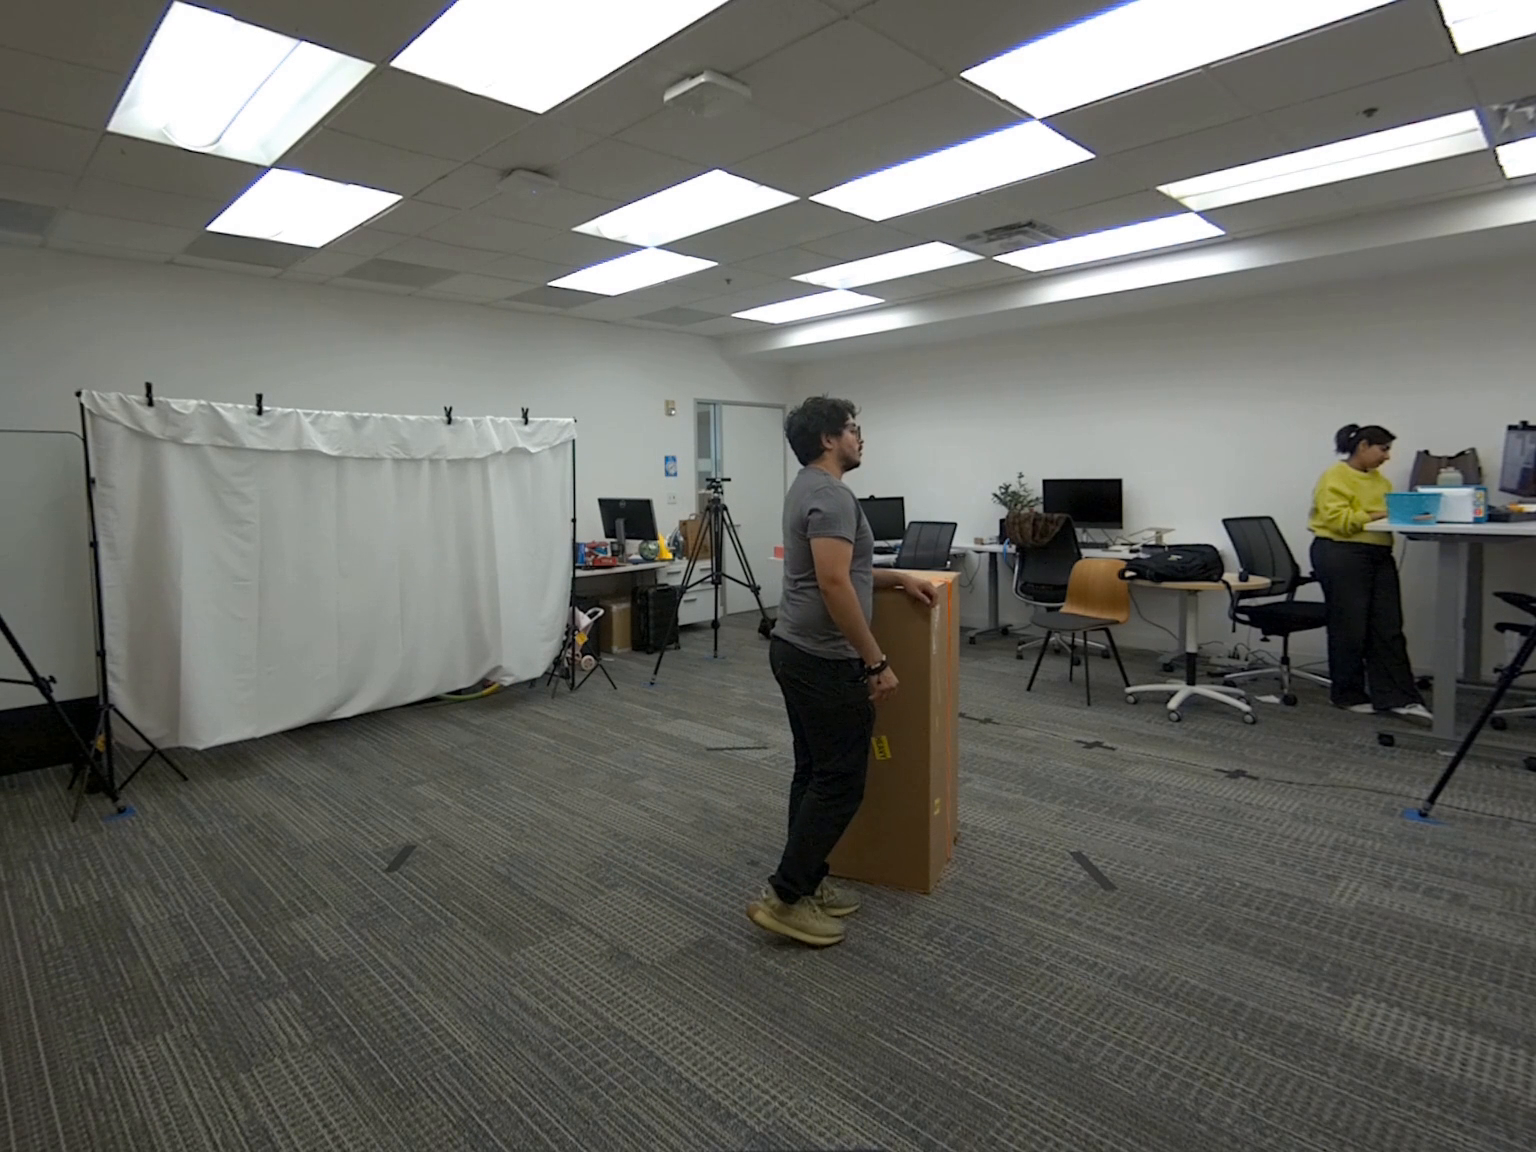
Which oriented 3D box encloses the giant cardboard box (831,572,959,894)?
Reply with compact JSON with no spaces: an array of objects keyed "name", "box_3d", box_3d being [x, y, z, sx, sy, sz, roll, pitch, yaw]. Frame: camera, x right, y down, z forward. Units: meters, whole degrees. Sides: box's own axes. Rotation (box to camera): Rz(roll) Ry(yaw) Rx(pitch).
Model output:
[{"name":"giant cardboard box","box_3d":[0.459,0.518,3.165,0.436,1.023,0.566,1,4,24]}]
